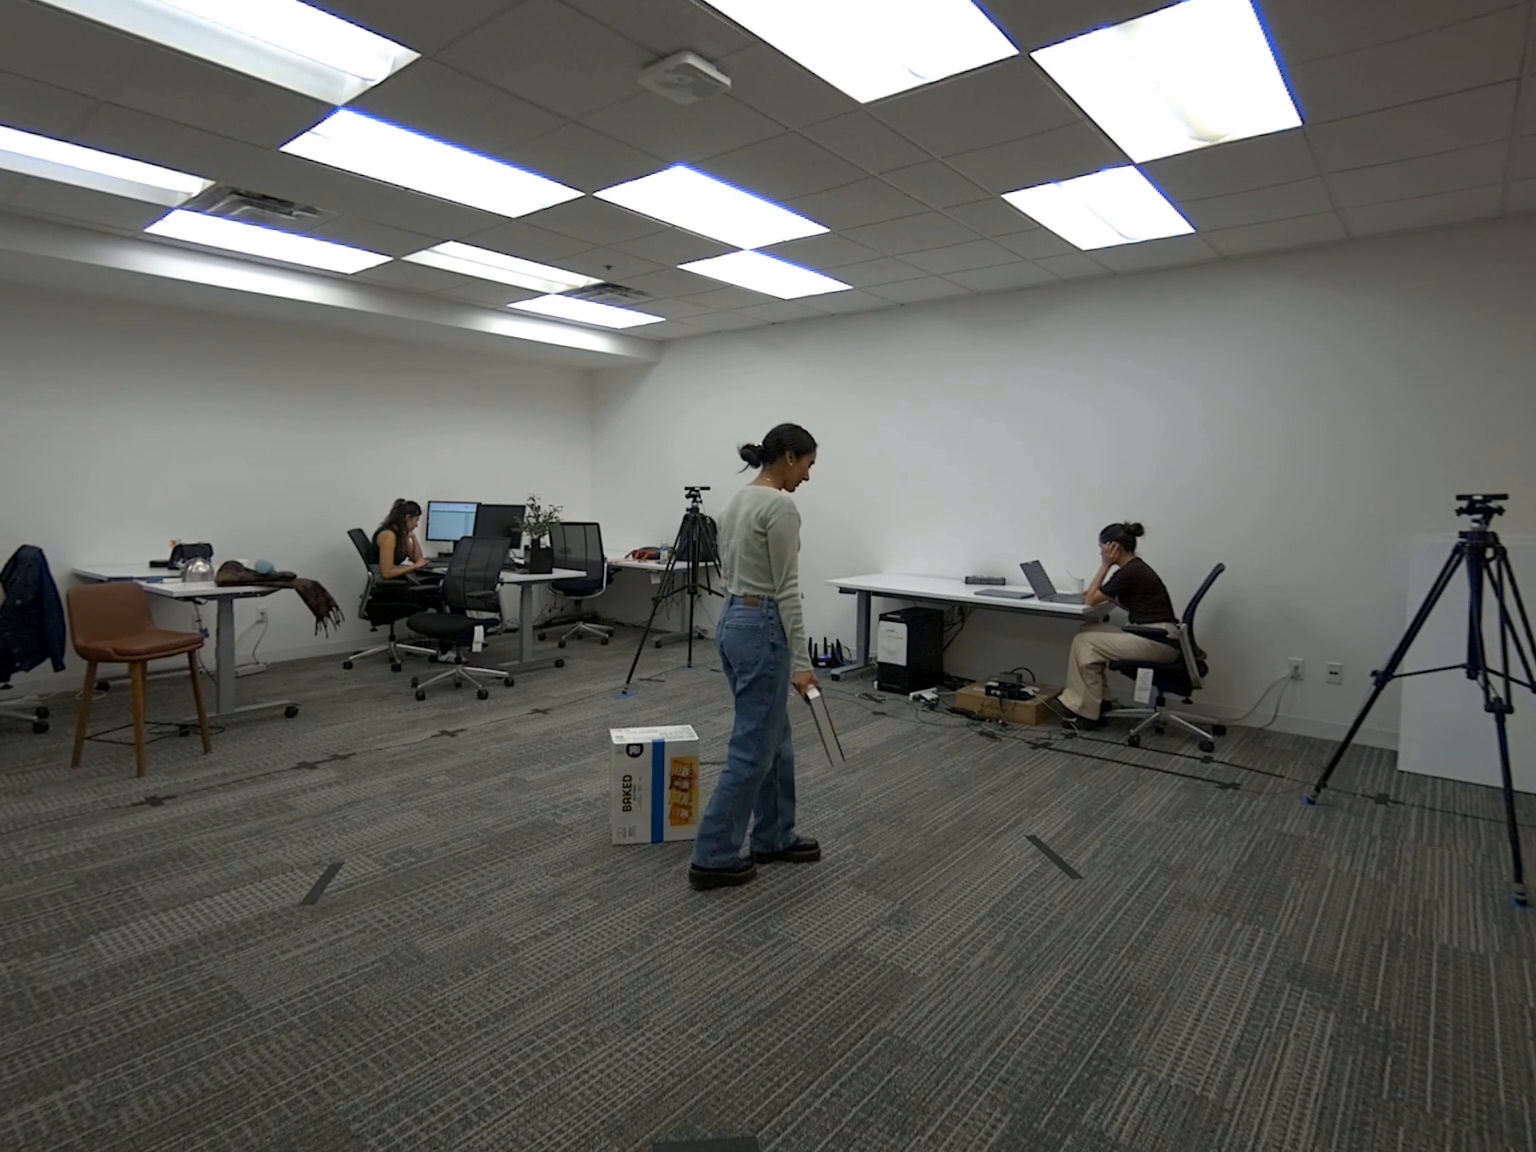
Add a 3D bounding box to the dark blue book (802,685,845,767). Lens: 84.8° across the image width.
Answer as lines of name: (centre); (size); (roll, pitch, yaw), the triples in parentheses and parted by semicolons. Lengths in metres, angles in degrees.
dark blue book: (0.179, 0.487, 2.831); (0.045, 0.244, 0.165); (-18, 5, -4)
